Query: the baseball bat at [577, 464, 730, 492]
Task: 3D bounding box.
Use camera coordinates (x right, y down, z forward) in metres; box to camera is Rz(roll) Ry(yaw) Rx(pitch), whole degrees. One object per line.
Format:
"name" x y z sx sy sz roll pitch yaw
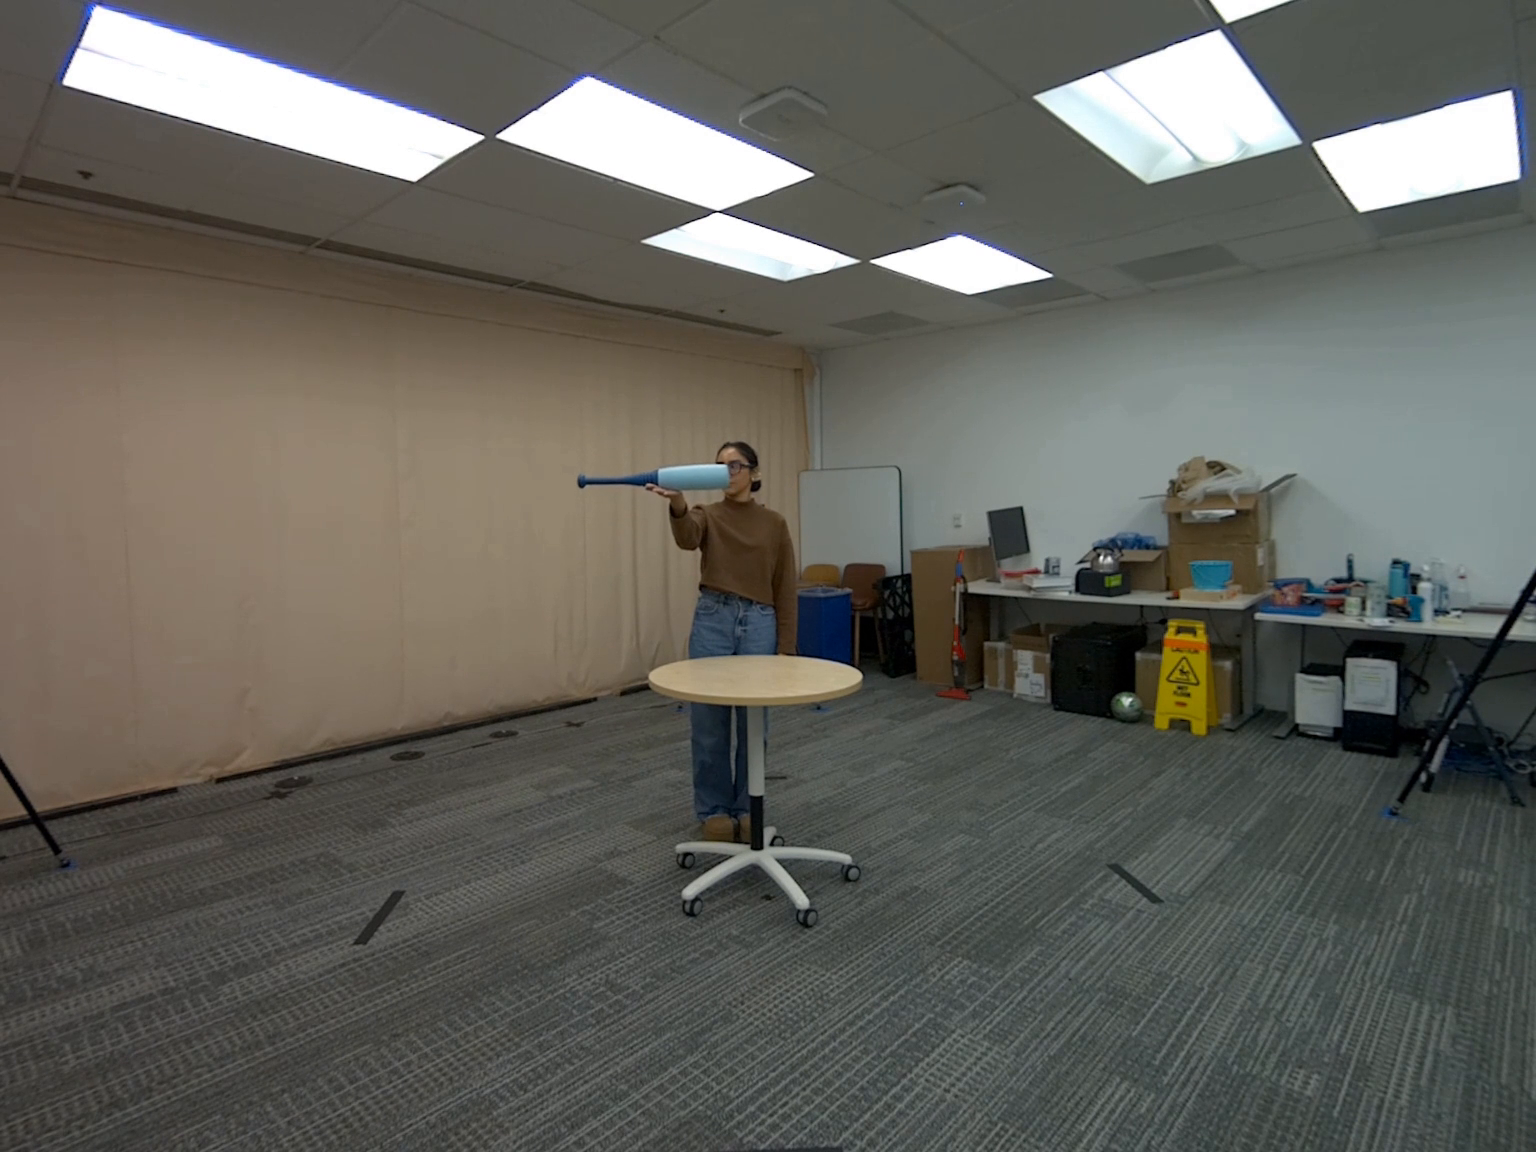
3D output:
"baseball bat" -0.404 -0.343 2.996 0.545 0.089 0.089 -2 4 3
